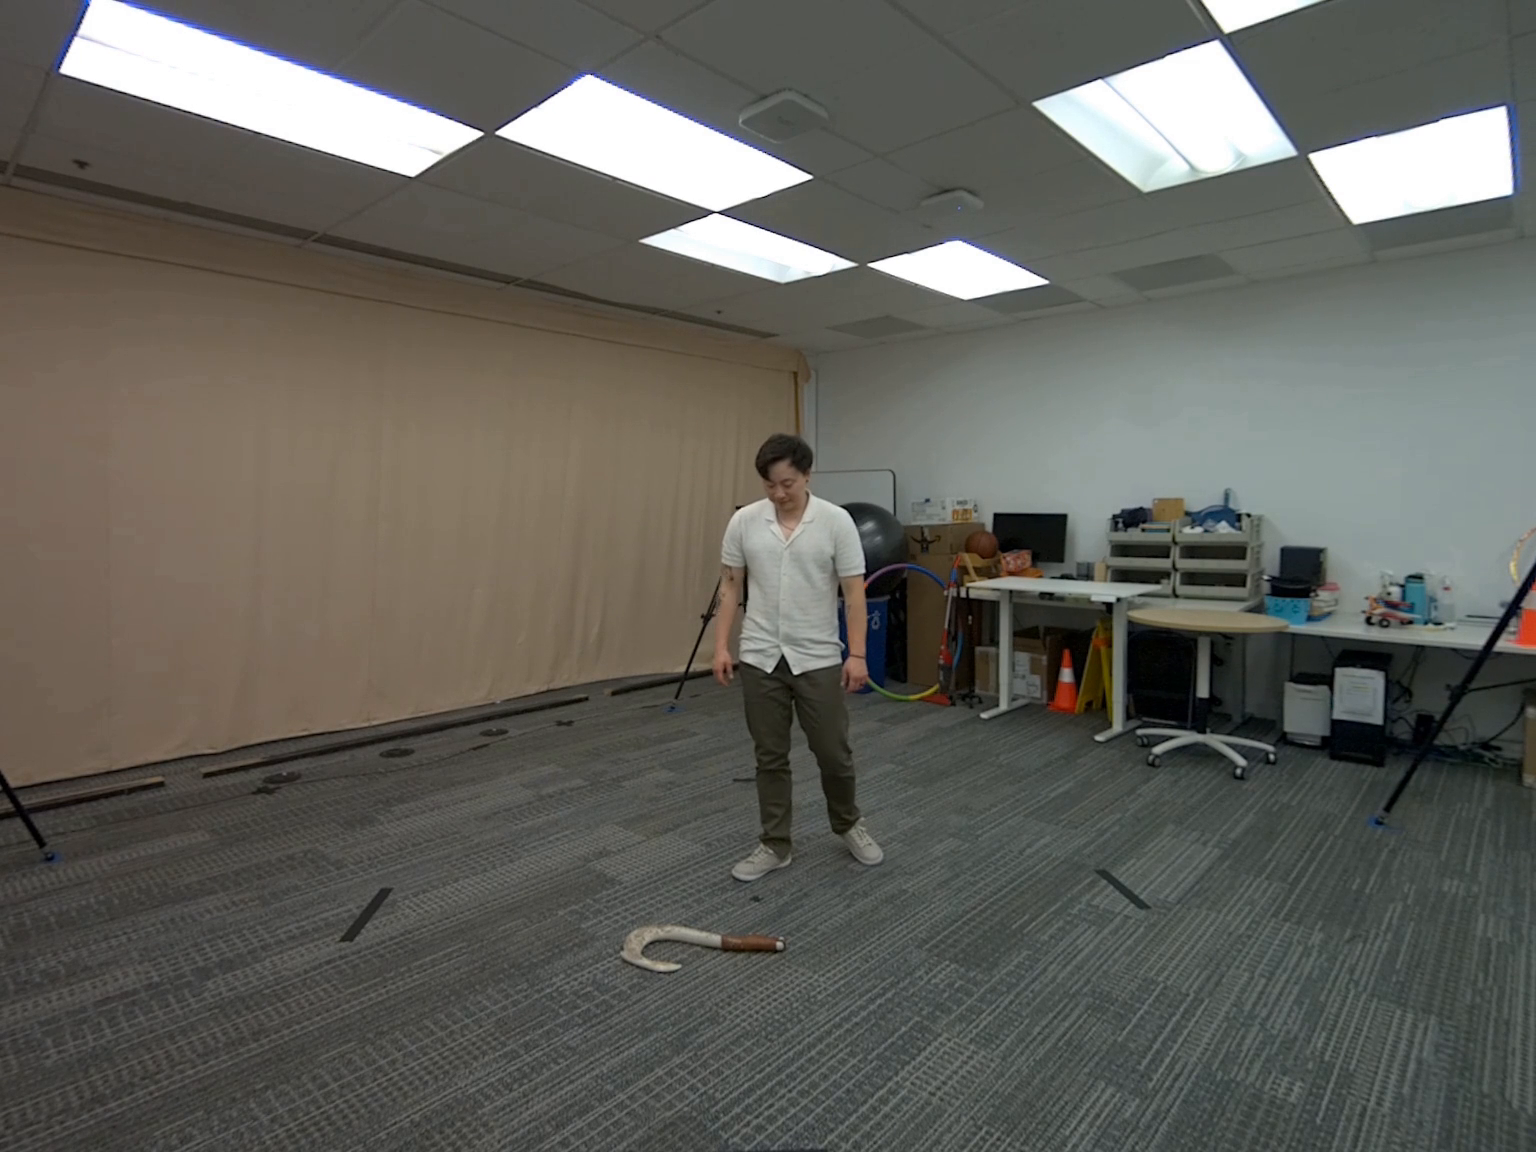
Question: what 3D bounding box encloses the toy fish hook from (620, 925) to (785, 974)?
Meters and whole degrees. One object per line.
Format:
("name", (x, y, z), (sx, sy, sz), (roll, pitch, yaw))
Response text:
("toy fish hook", (-0.192, 1.157, 2.606), (0.510, 0.048, 0.224), (-1, 12, 7))
